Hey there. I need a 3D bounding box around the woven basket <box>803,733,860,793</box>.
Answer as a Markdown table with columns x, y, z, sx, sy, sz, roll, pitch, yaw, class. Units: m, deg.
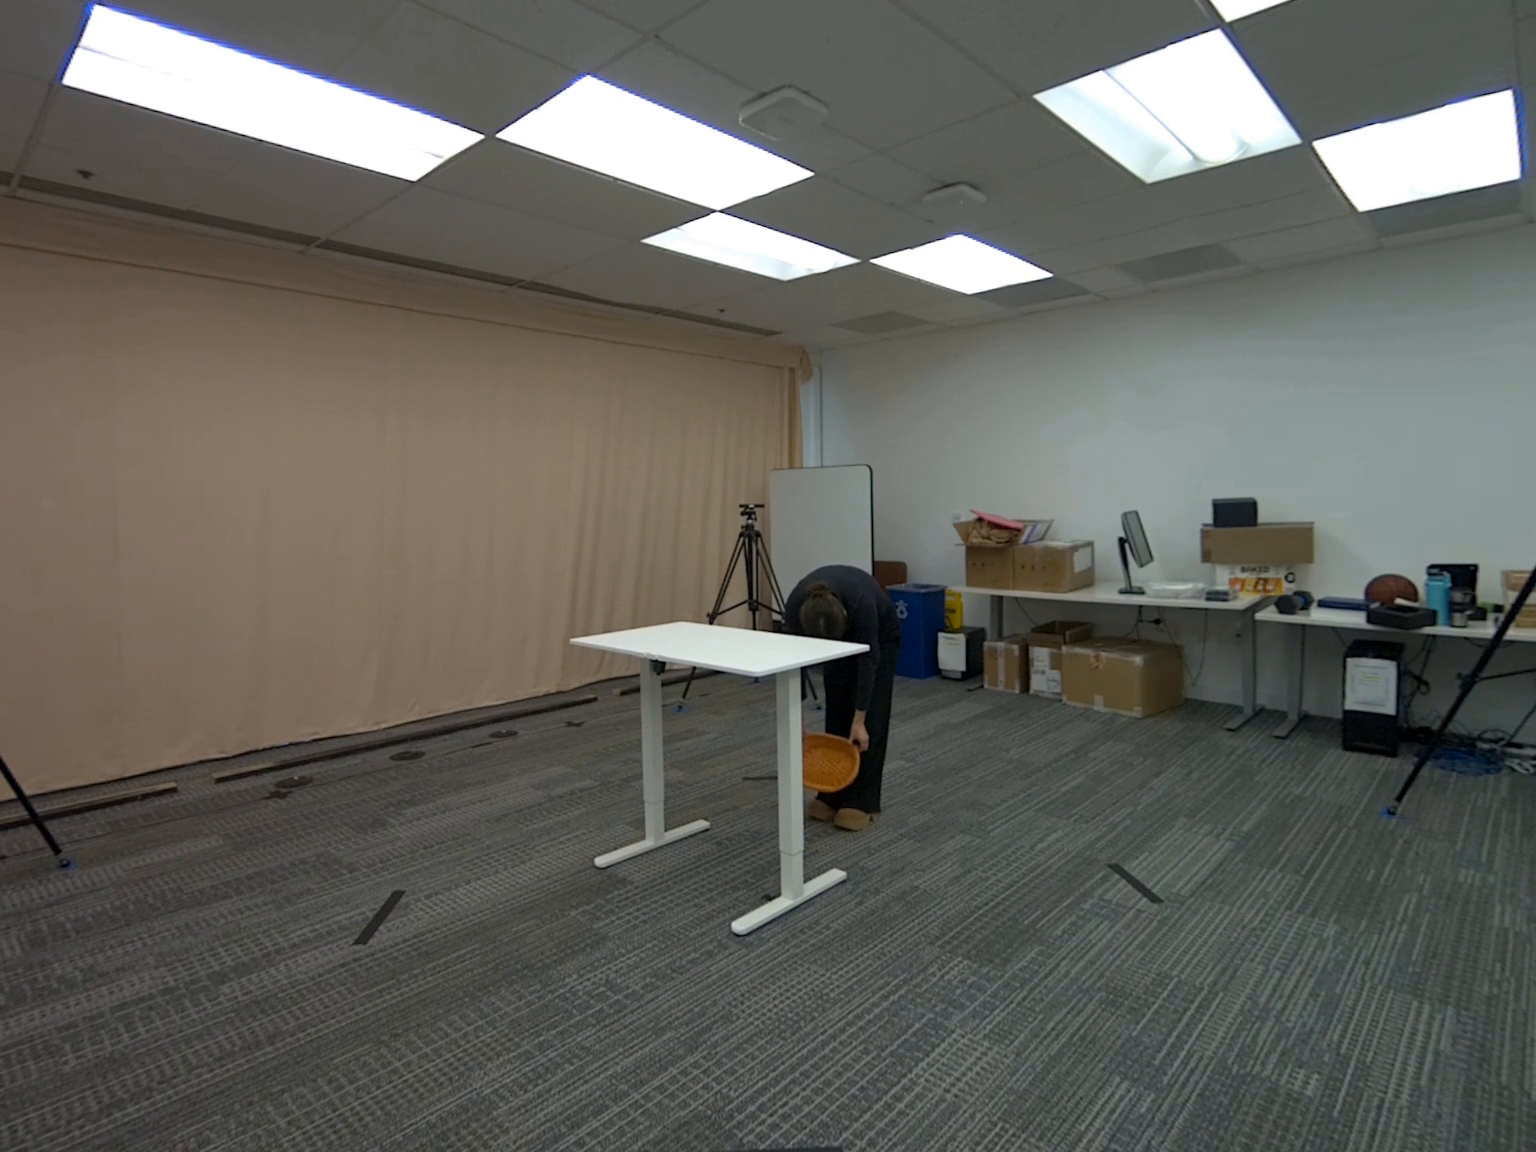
| x | y | z | sx | sy | sz | roll | pitch | yaw | class |
| --- | --- | --- | --- | --- | --- | --- | --- | --- | --- |
| 0.242 | 0.794 | 3.590 | 0.361 | 0.253 | 0.071 | 2 | -31 | 34 | woven basket |
